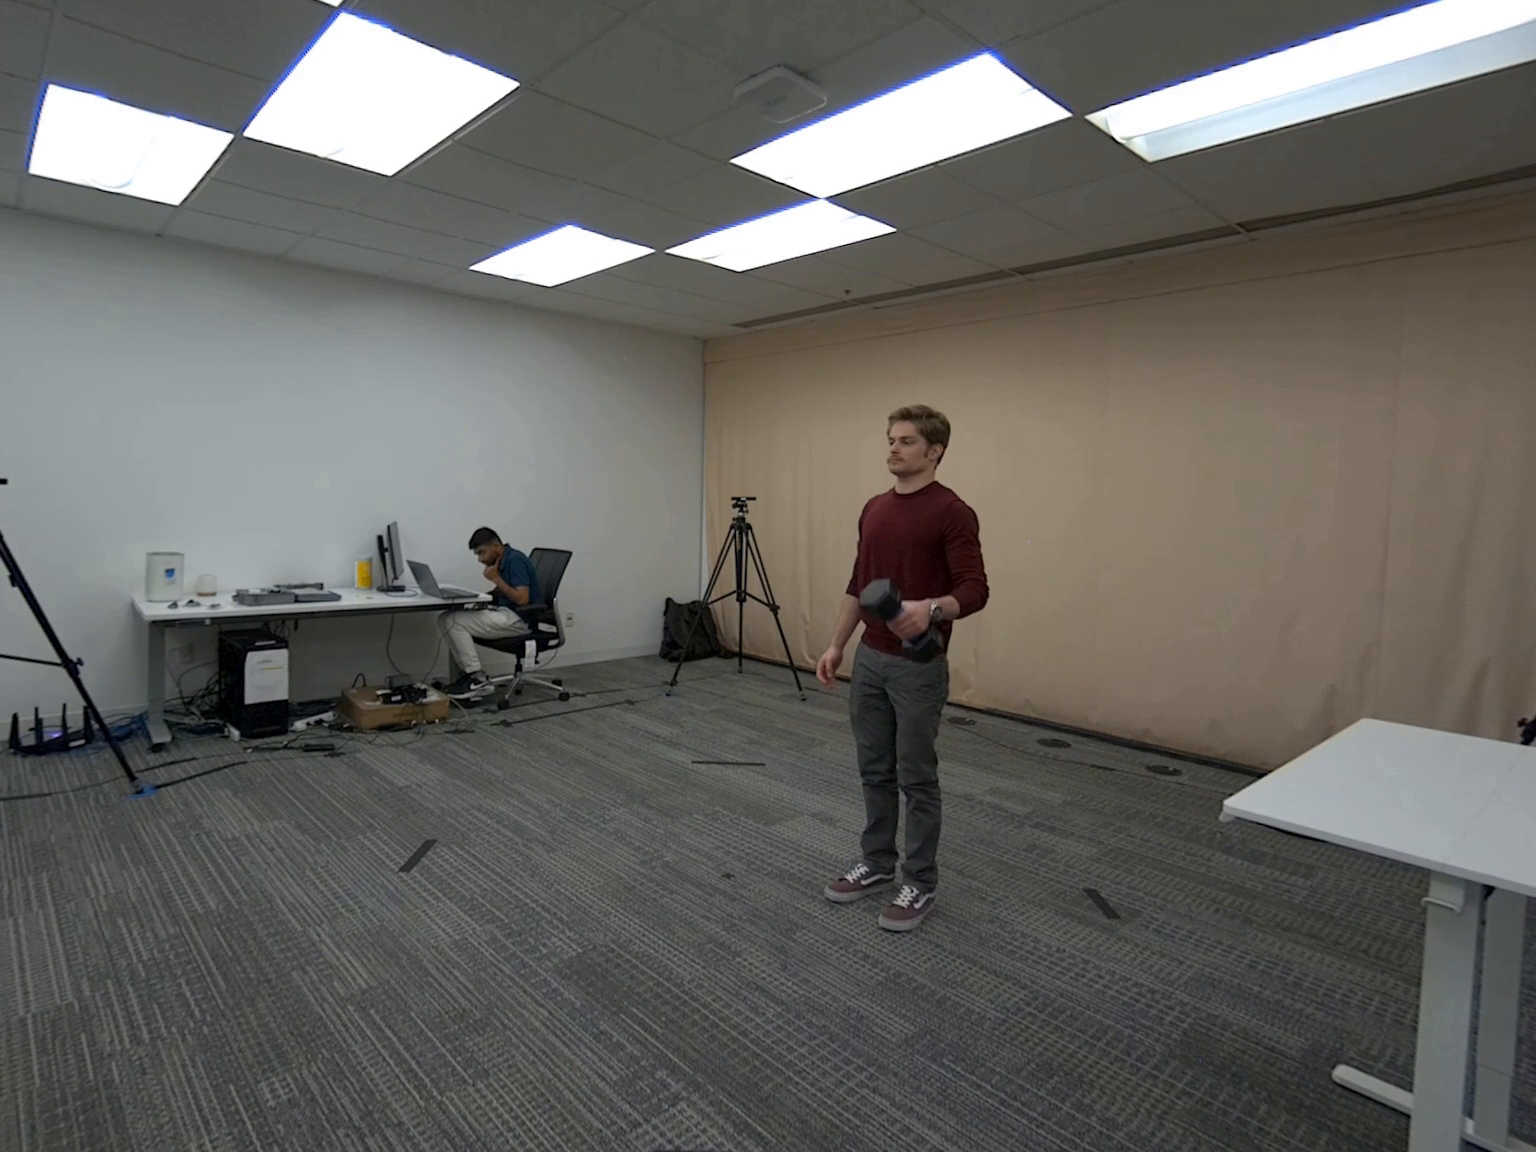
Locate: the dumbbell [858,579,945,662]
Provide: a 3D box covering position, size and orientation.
[{"bbox_3d":[0.408,0.129,2.520,0.109,0.287,0.125,-34,26,34],"label":"dumbbell"}]
